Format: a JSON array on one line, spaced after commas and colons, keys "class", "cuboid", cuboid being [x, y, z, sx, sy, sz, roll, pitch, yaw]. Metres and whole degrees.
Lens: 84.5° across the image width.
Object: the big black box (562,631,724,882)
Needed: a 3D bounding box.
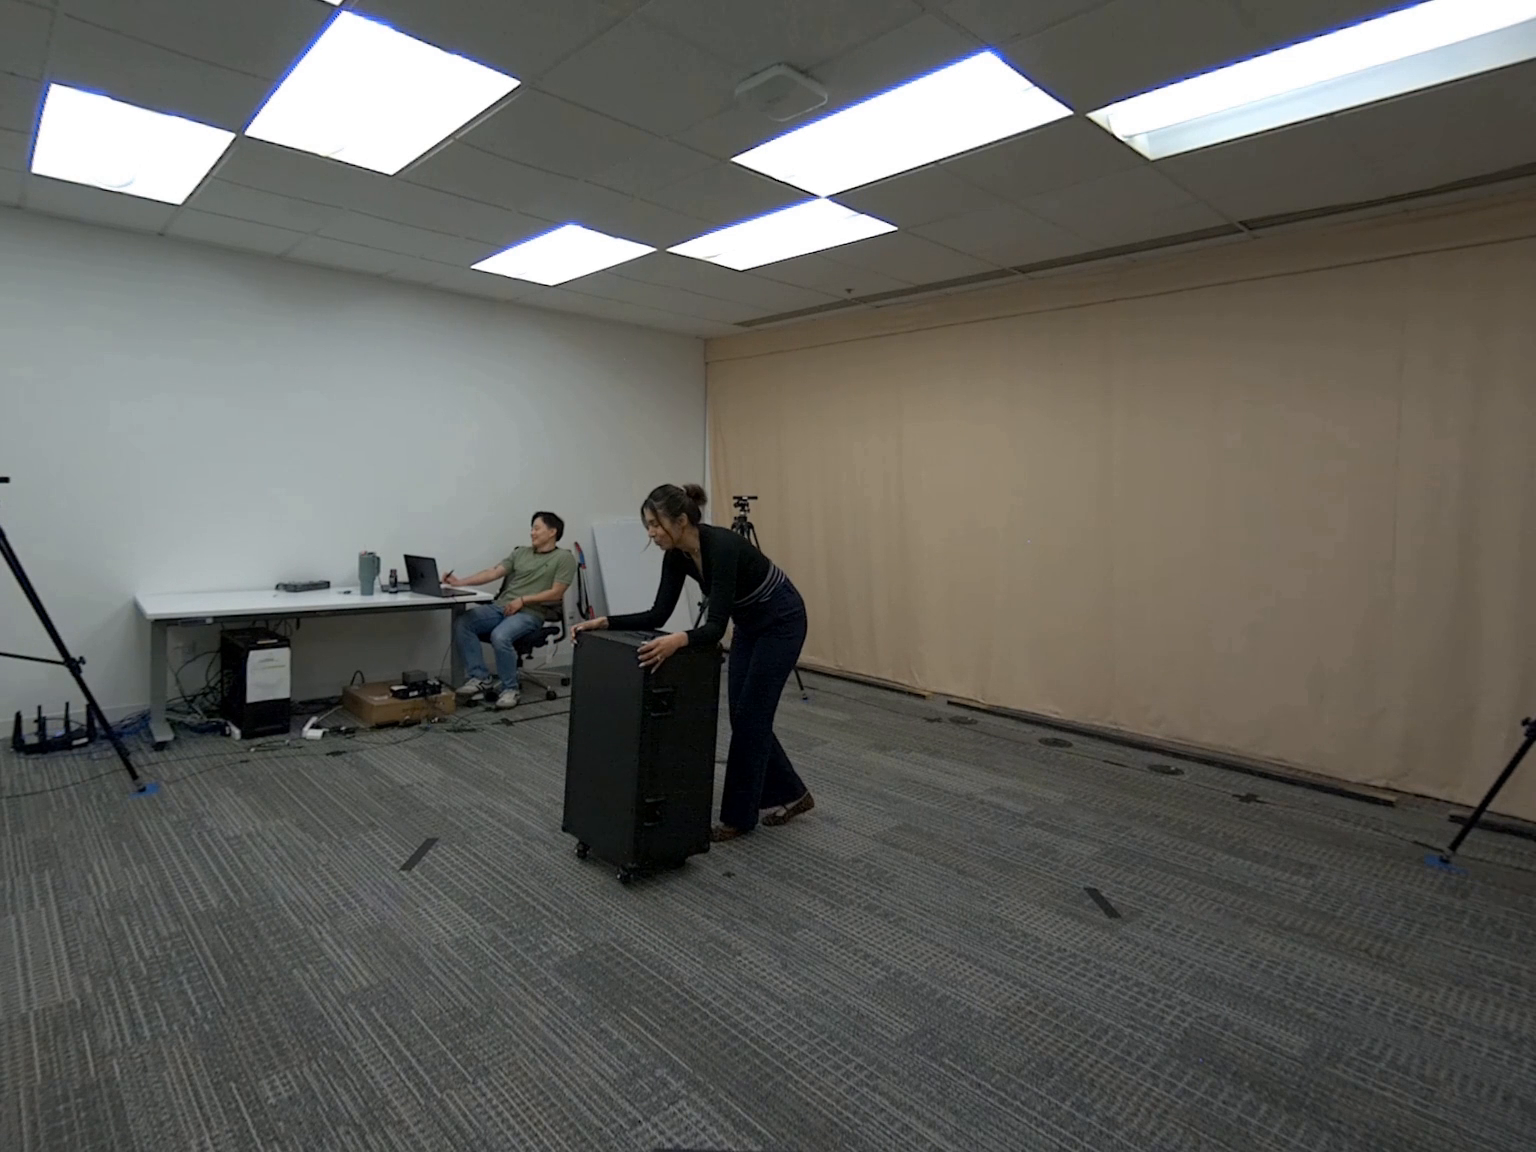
[{"class": "big black box", "cuboid": [-0.492, 0.659, 3.208, 0.386, 0.861, 0.534, 4, 0, -43]}]
